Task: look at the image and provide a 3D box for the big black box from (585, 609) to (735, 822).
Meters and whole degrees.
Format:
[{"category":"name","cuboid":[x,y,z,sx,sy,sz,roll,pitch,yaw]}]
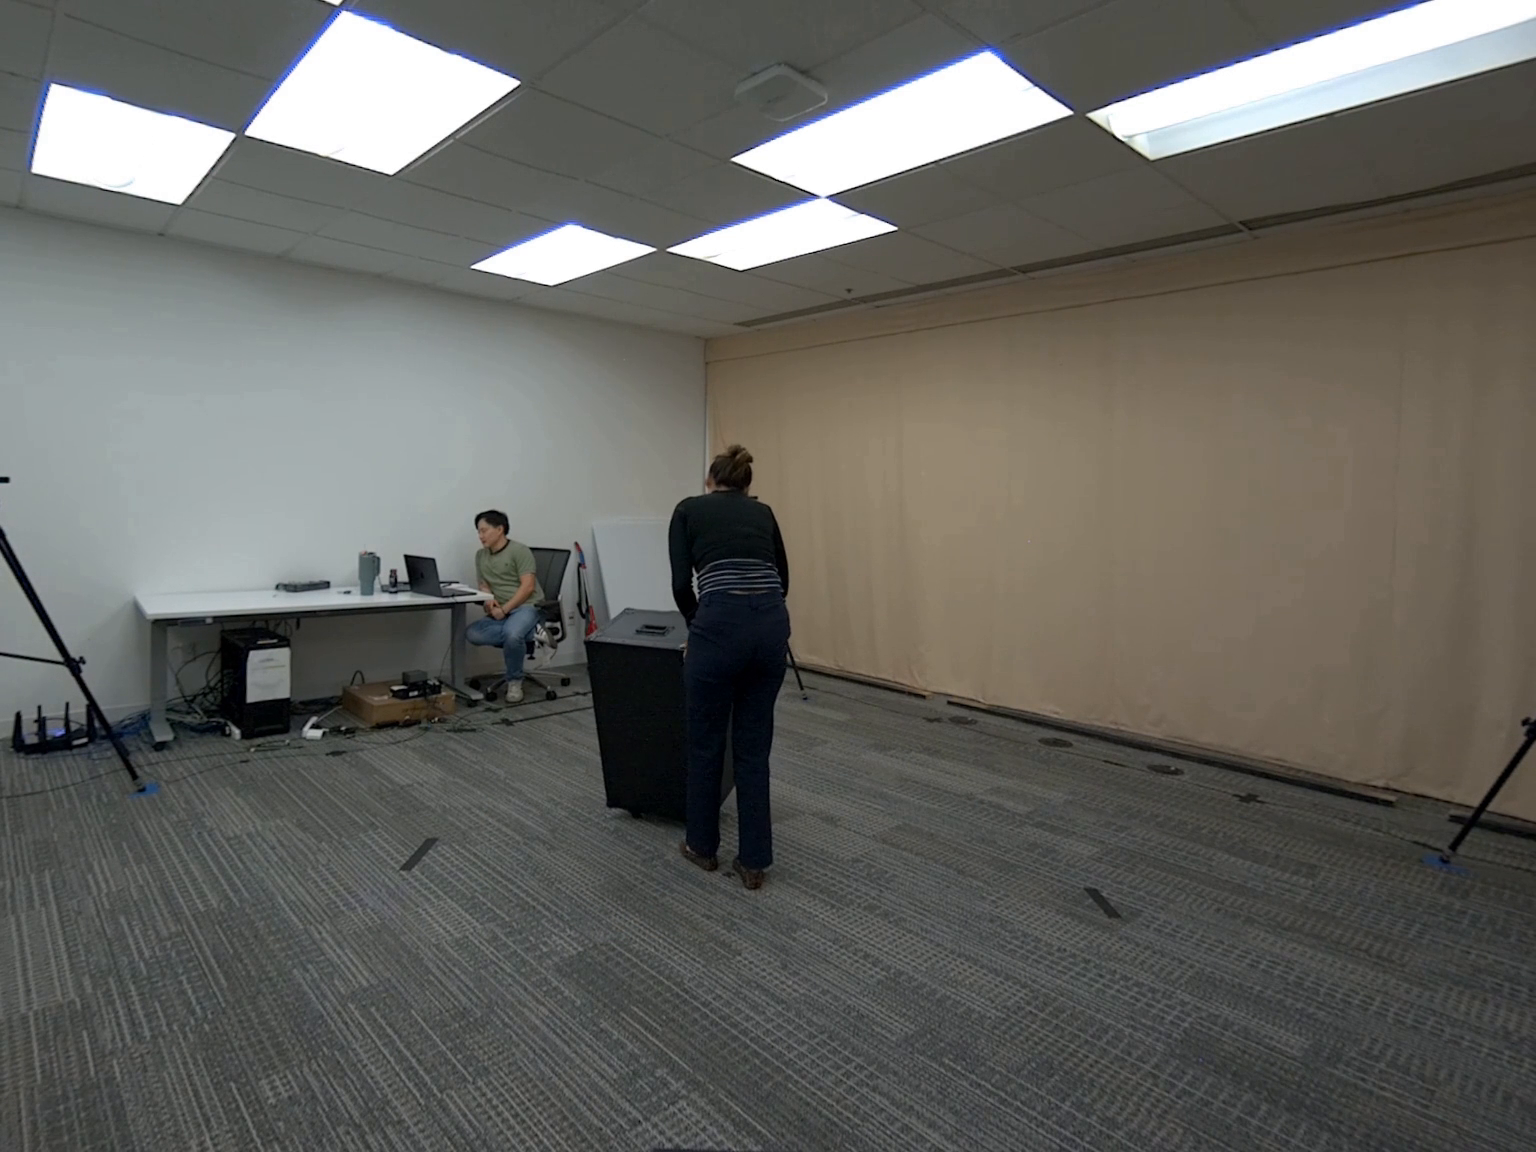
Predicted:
[{"category":"big black box","cuboid":[-0.445,0.612,3.589,0.530,0.850,0.394,3,18,21]}]
